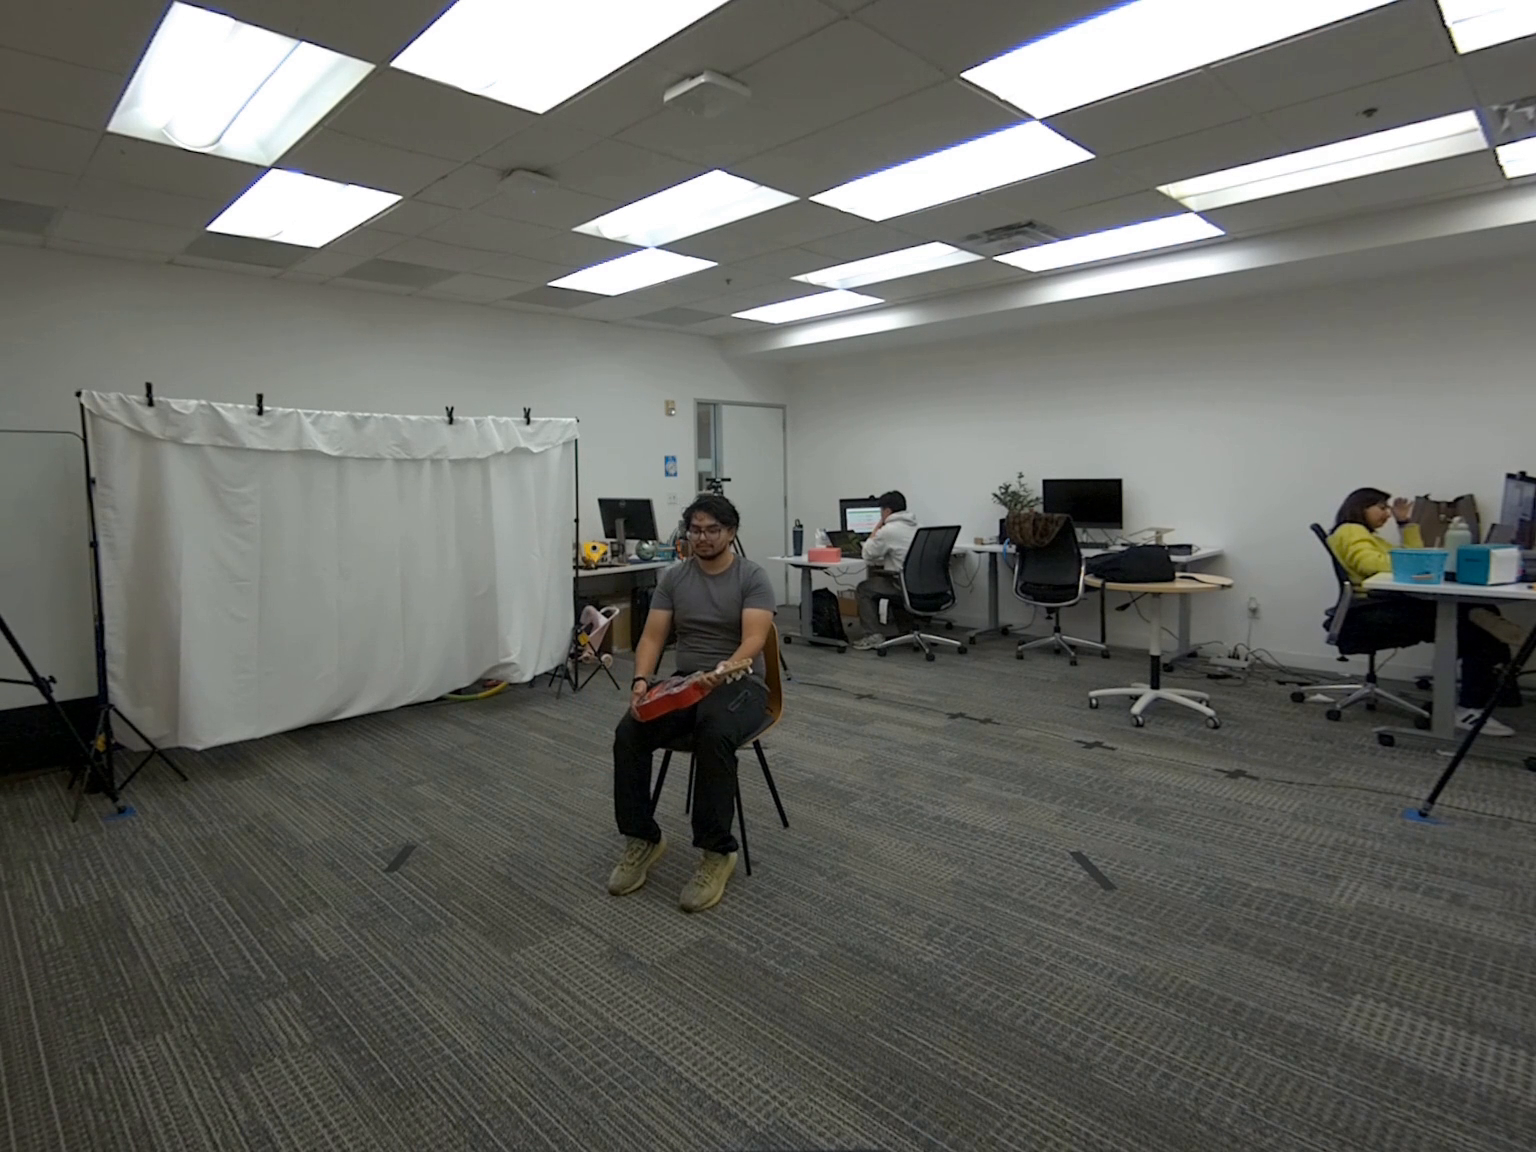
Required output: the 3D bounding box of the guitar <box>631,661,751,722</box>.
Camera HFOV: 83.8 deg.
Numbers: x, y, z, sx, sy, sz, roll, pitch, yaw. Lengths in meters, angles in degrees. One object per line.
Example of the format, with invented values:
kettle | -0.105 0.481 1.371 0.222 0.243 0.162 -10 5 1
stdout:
guitar | -0.264 0.381 2.800 0.506 0.070 0.191 -20 13 46
